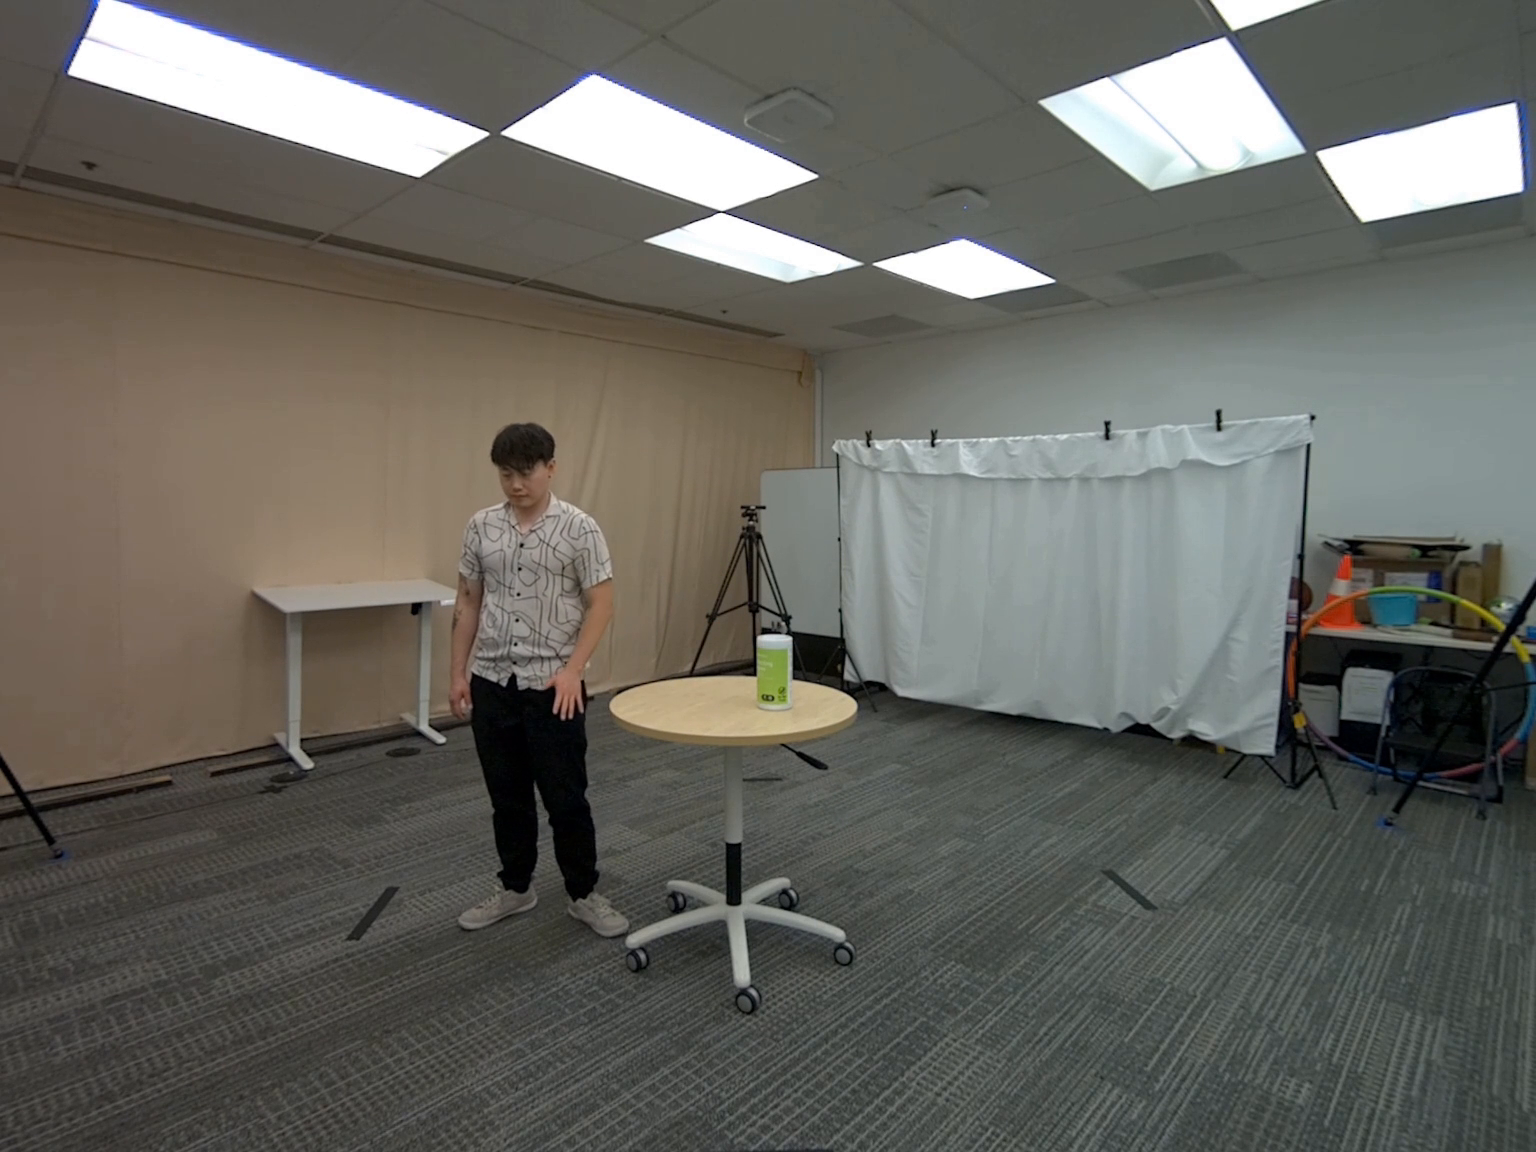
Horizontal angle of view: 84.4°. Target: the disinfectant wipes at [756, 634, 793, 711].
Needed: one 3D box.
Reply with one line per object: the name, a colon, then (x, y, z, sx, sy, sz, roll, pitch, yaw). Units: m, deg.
disinfectant wipes: (0.026, 0.295, 2.550, 0.118, 0.217, 0.118, -1, 3, -2)
